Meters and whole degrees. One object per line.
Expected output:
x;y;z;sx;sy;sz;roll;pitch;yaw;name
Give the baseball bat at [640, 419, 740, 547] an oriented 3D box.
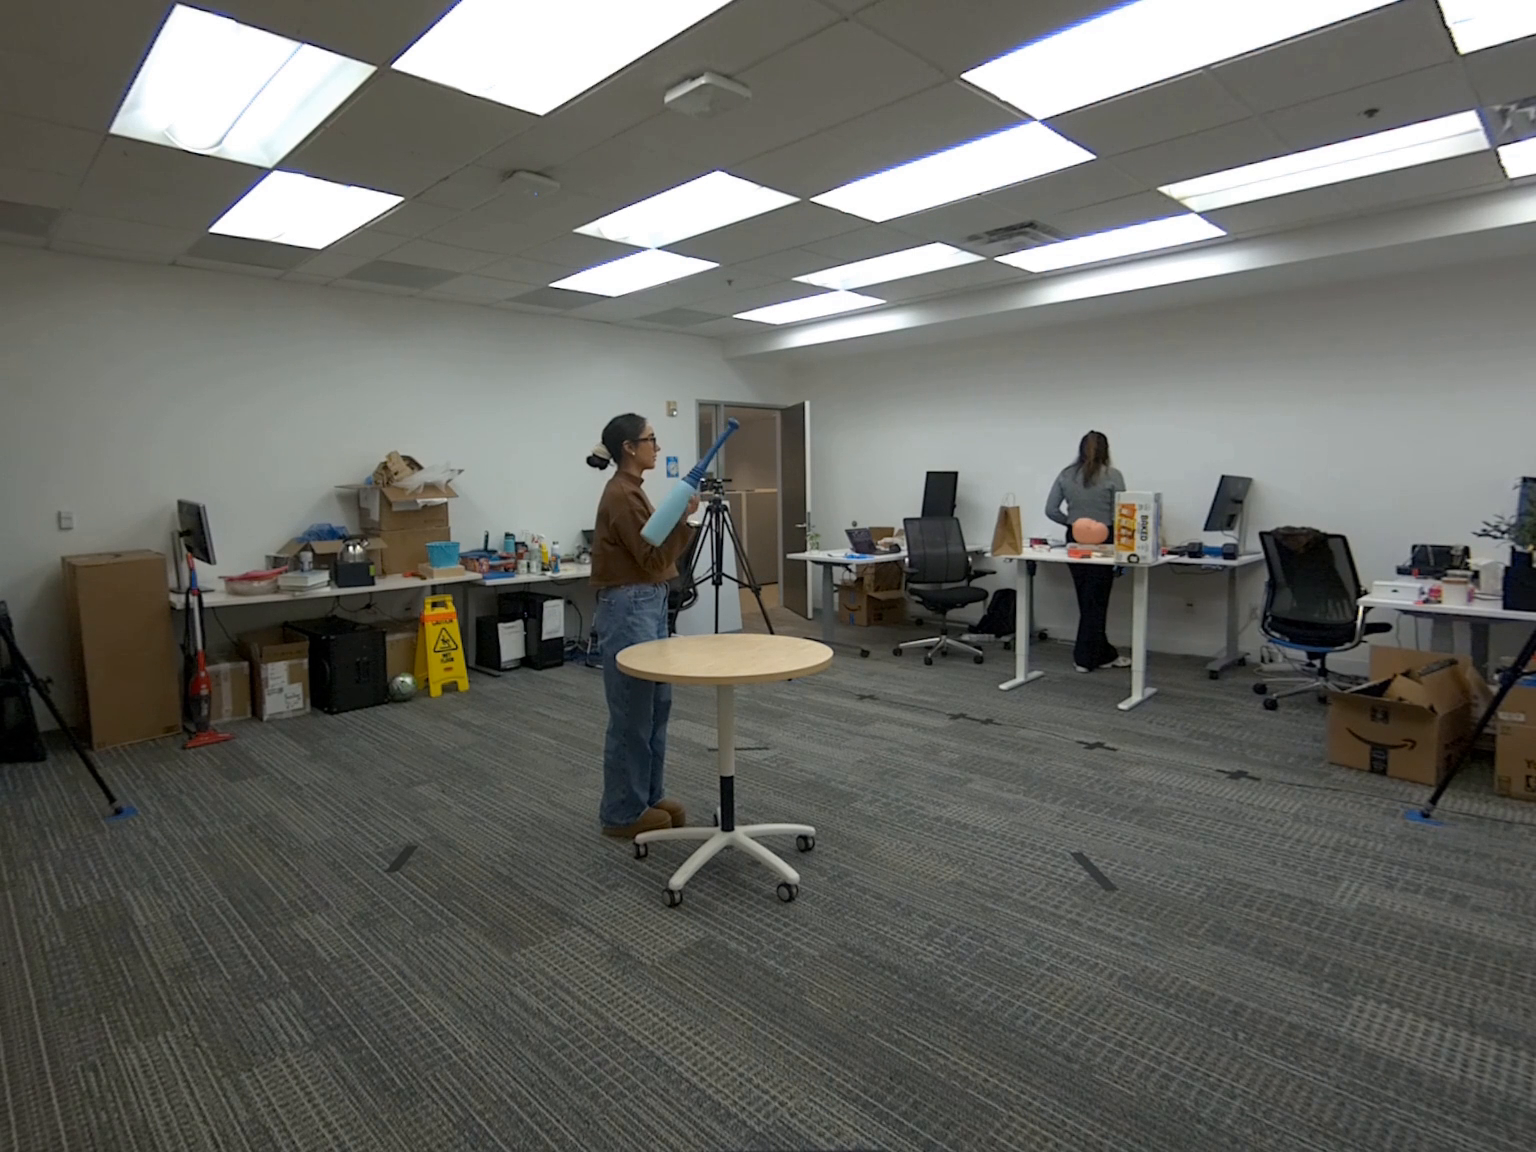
-0.268;-0.344;3.074;0.089;0.543;0.089;35;-4;1;baseball bat
